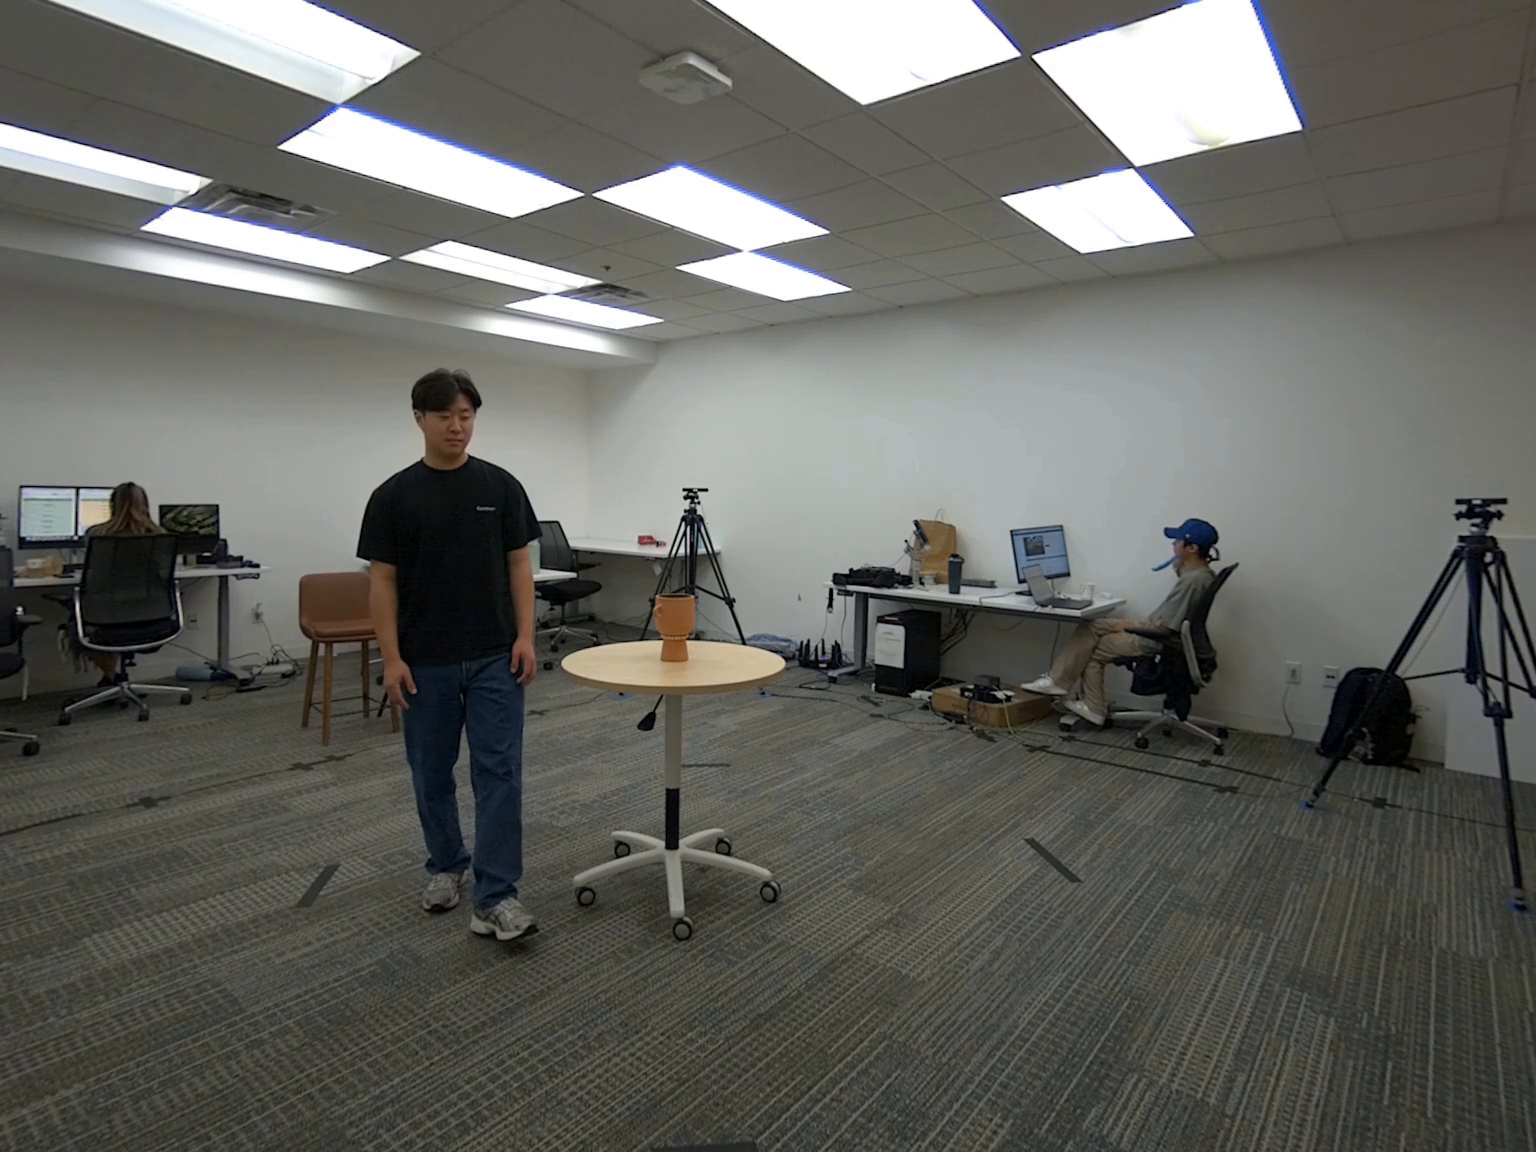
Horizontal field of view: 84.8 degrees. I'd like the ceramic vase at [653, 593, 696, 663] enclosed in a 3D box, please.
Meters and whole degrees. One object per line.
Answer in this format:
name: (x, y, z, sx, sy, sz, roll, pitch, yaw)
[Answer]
ceramic vase: (-0.333, 0.182, 2.941, 0.157, 0.219, 0.136, 0, 4, -8)
